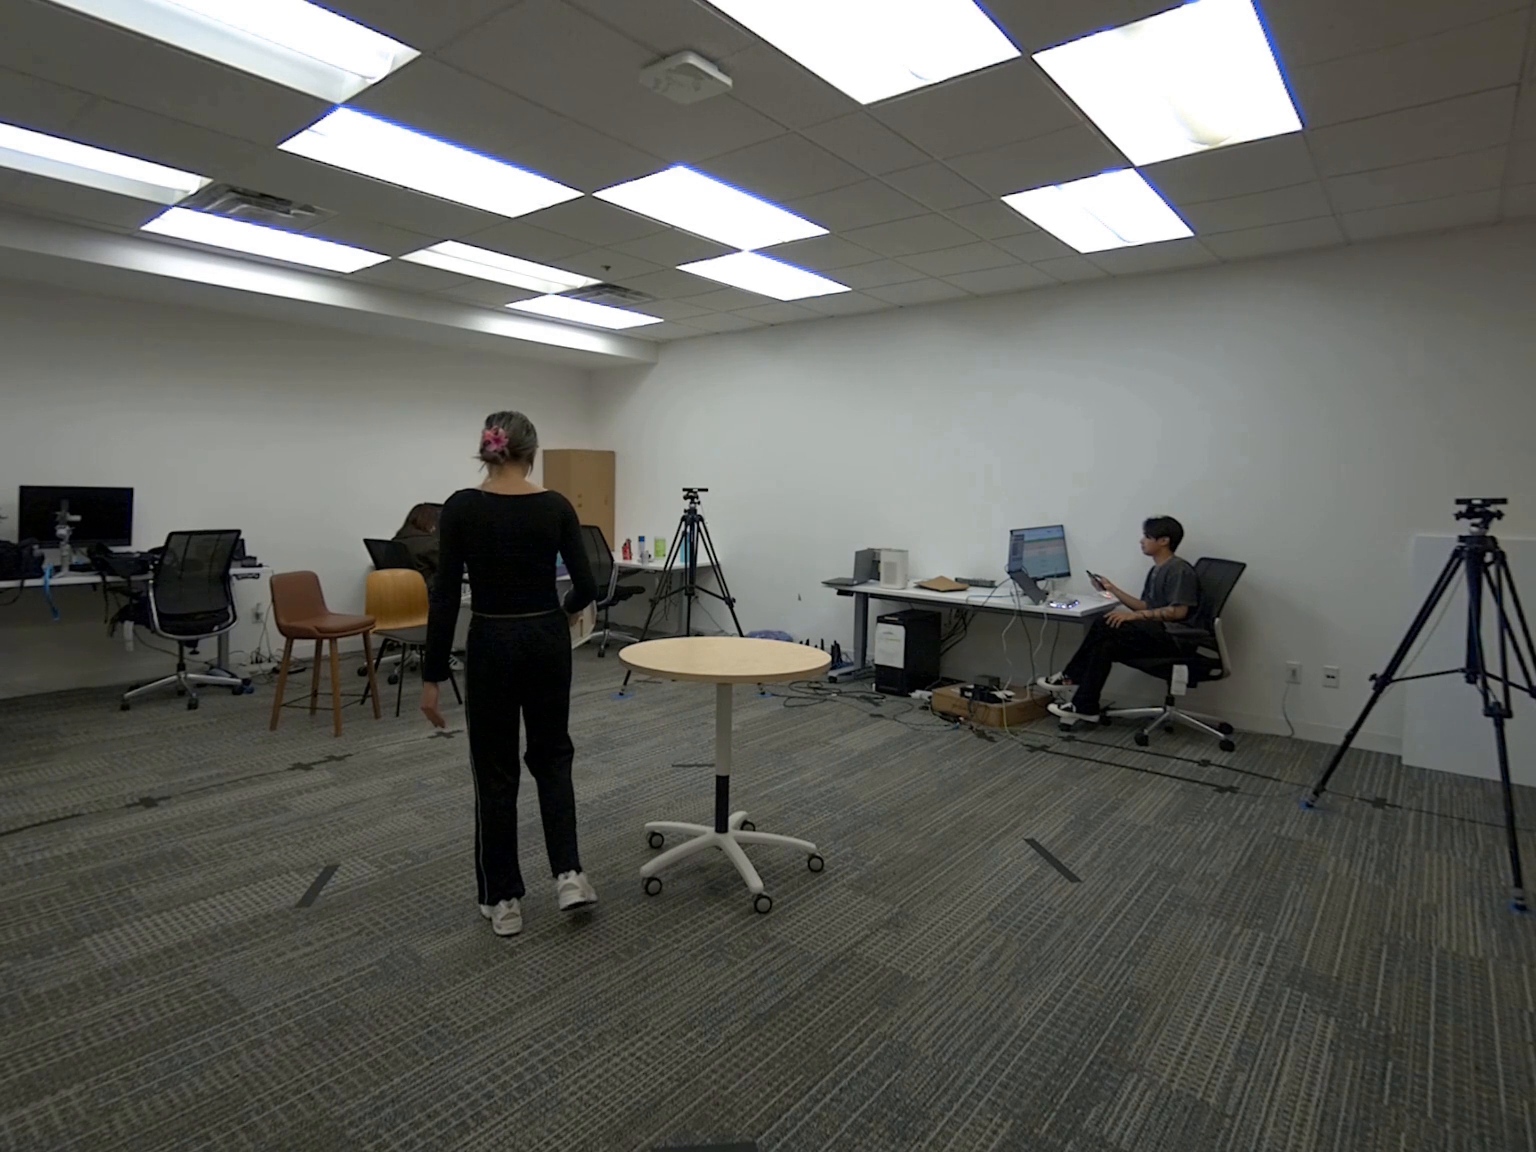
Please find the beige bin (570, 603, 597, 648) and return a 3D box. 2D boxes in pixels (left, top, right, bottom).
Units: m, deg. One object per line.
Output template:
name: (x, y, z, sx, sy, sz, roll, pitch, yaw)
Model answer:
beige bin: (-0.888, 0.161, 3.064, 0.428, 0.187, 0.375, 2, 9, 11)
